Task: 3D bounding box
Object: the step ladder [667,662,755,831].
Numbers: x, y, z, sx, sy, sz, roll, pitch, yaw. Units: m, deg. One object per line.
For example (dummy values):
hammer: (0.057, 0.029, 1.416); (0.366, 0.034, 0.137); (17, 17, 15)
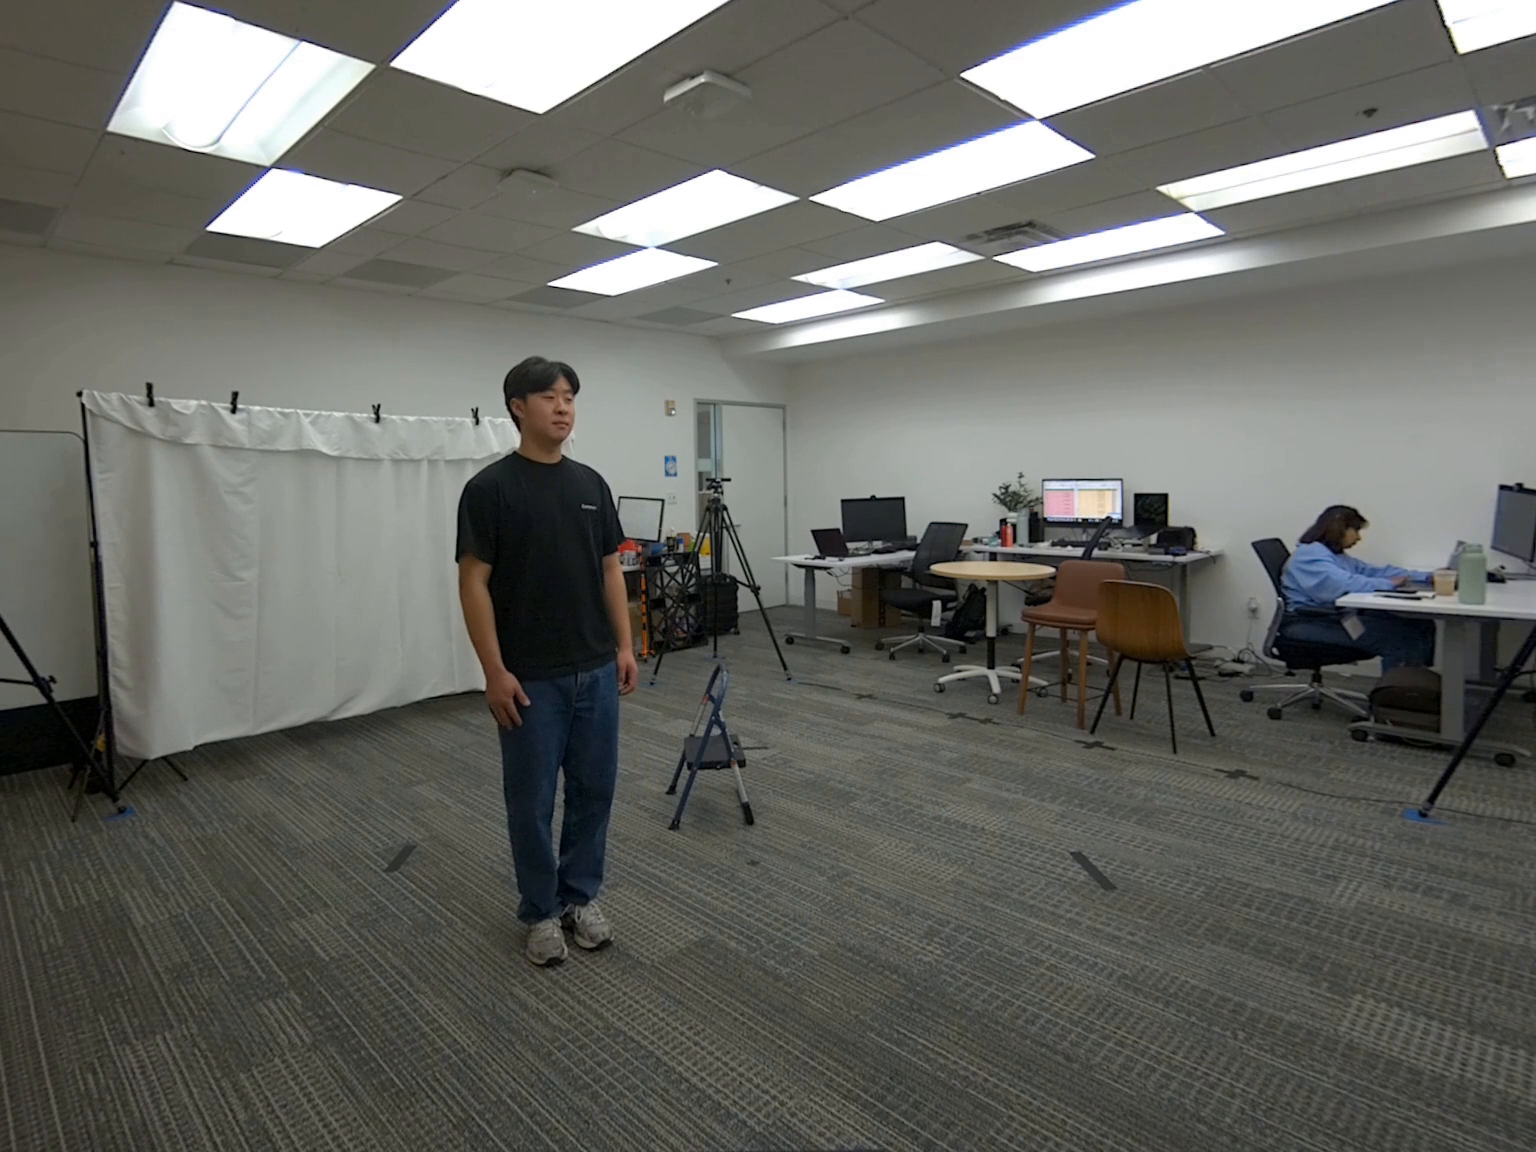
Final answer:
step ladder: (-0.253, 0.689, 3.615); (0.347, 0.604, 0.435); (-2, 5, -8)
